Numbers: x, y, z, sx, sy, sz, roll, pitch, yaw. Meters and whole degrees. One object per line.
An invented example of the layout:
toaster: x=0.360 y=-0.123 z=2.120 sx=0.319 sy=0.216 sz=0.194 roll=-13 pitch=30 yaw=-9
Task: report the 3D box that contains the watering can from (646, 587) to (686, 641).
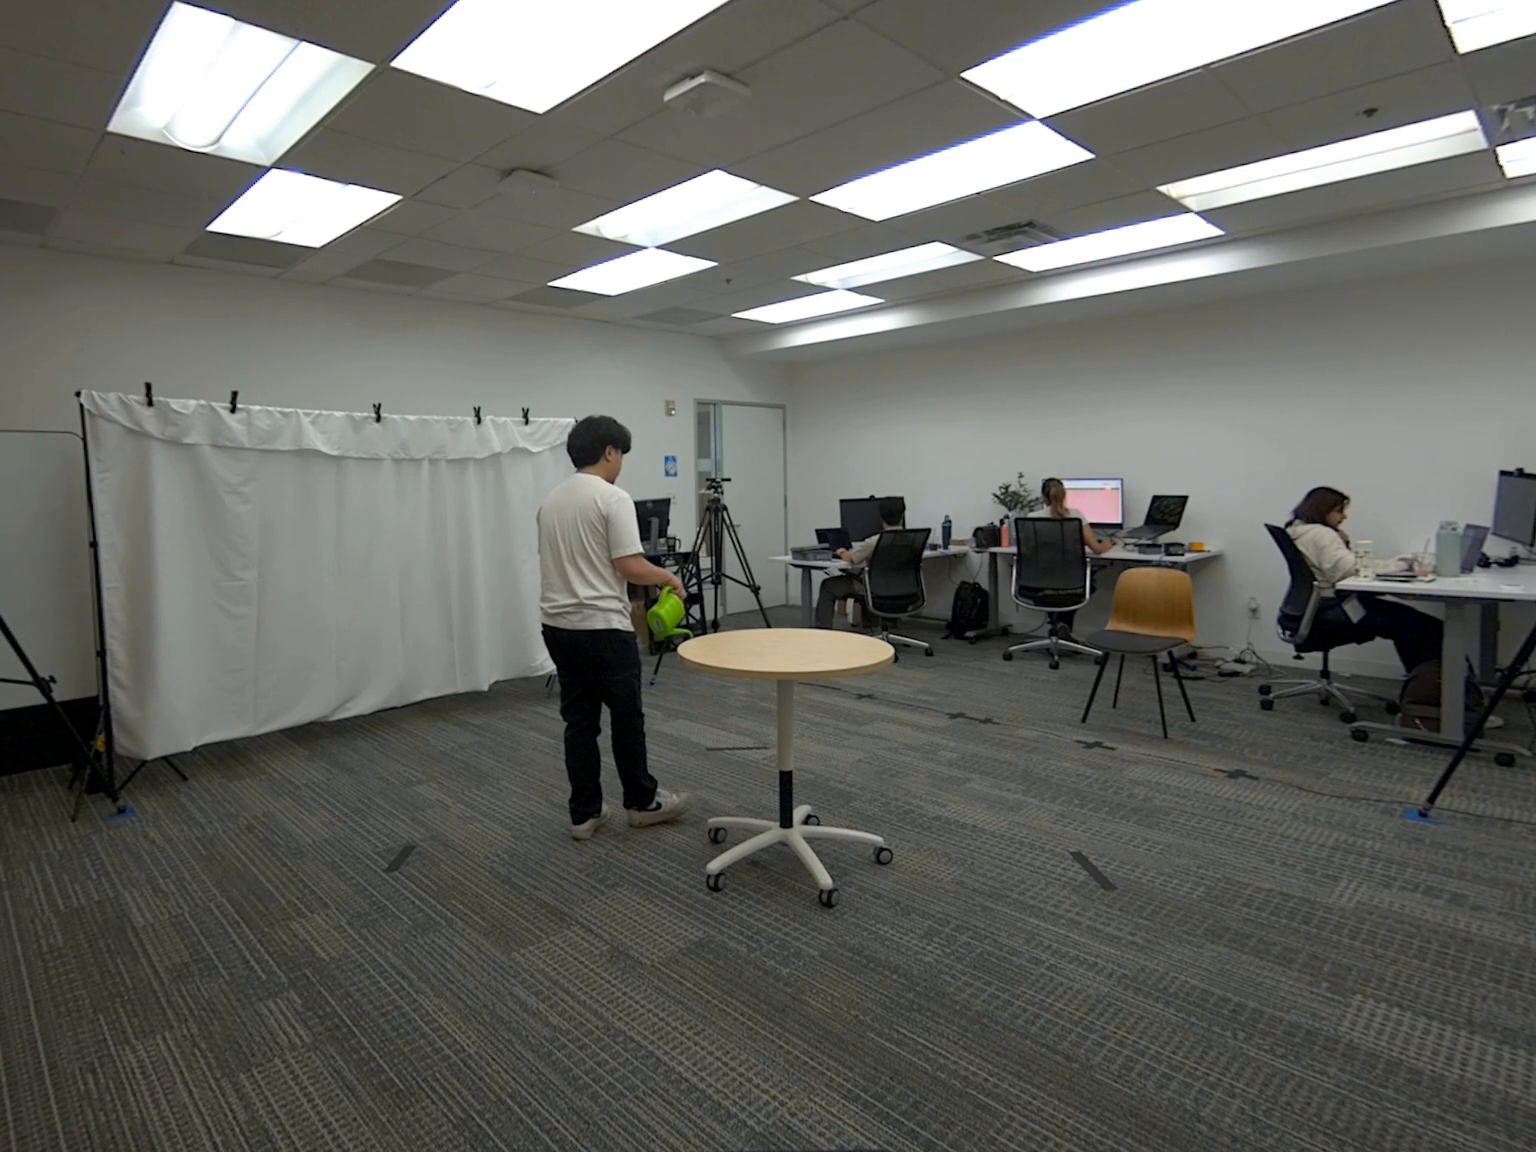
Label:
watering can: x=-0.372 y=0.177 z=3.443 sx=0.100 sy=0.272 sz=0.177 roll=-11 pitch=26 yaw=40
